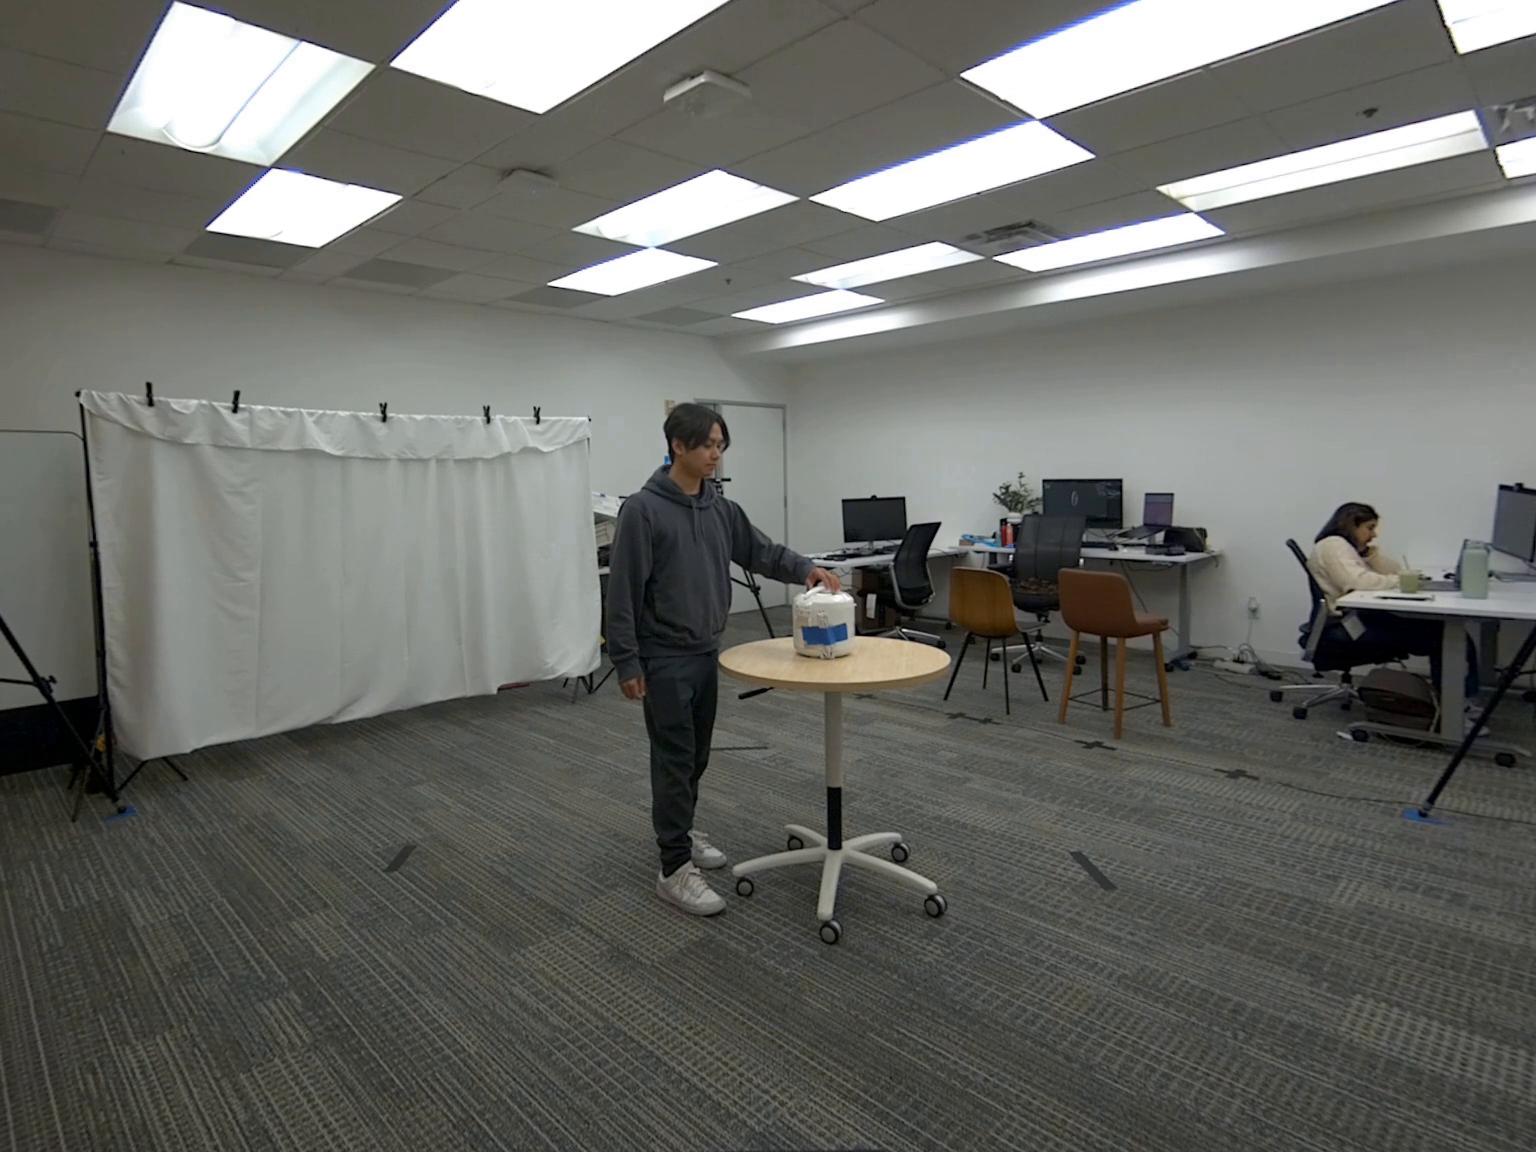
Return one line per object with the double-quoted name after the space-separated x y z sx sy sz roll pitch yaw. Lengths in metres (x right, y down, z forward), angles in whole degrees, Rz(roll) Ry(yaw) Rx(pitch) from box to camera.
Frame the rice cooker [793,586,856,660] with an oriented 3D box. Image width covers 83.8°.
0.185 0.148 2.896 0.215 0.232 0.224 -5 6 -44 "rice cooker"
